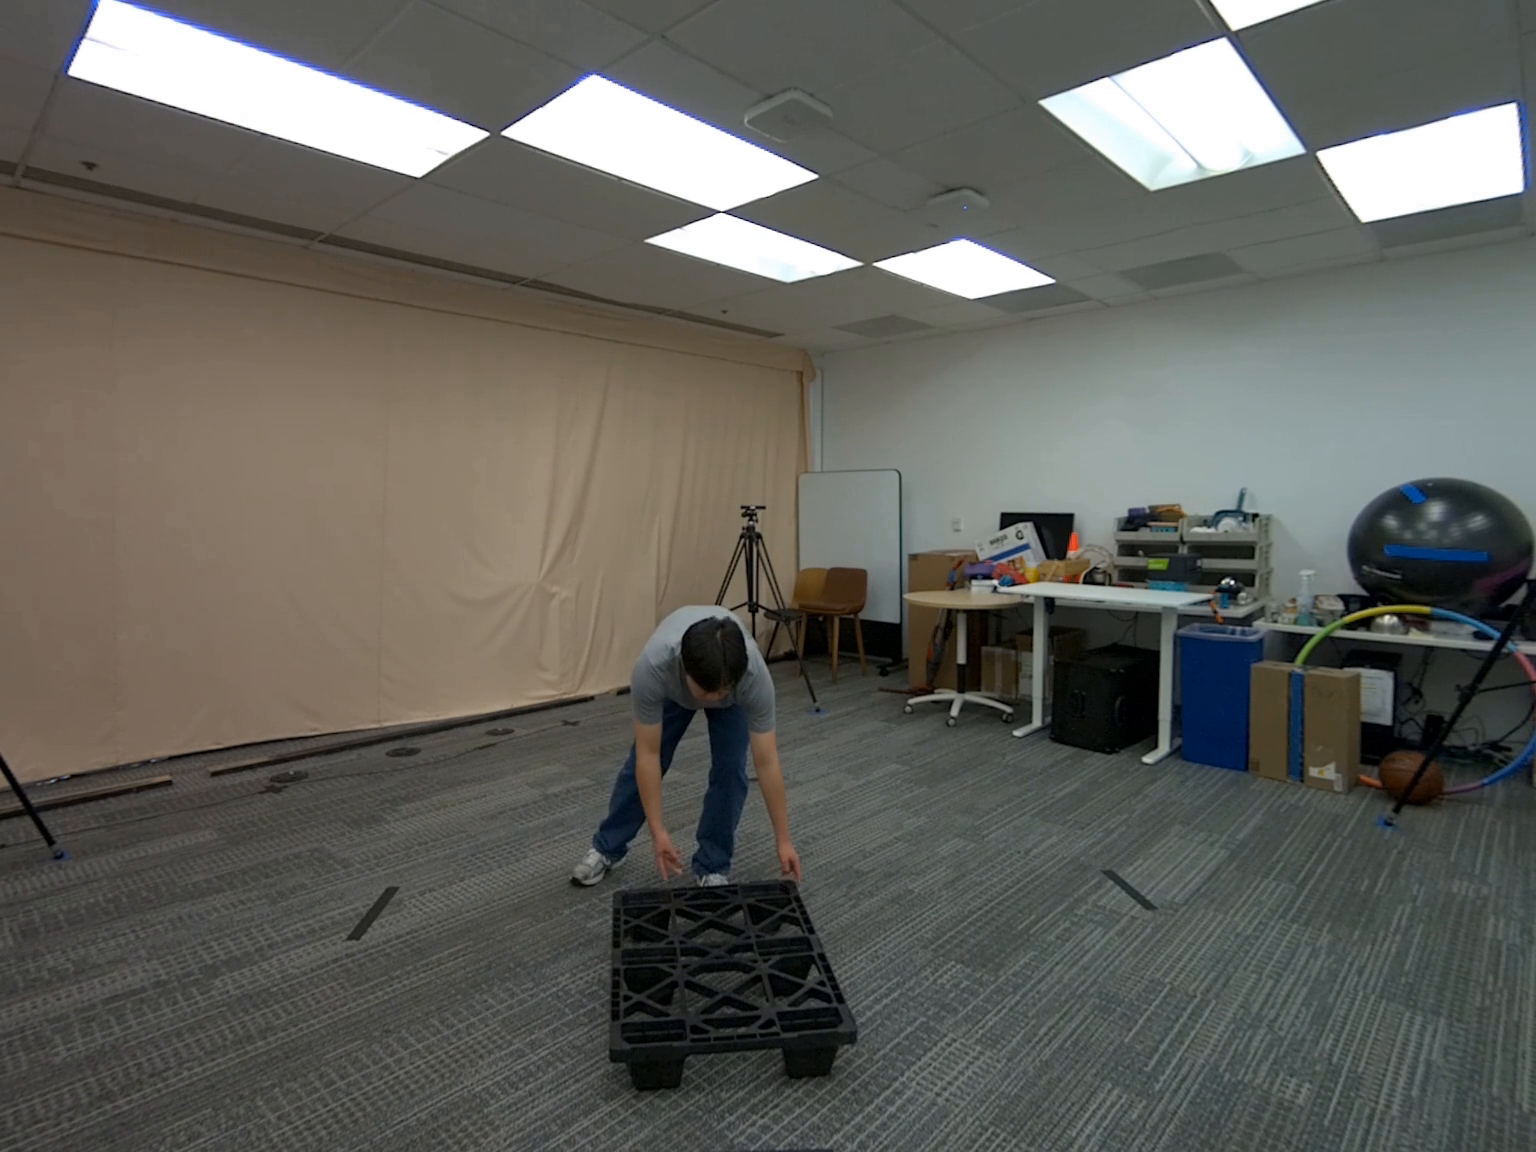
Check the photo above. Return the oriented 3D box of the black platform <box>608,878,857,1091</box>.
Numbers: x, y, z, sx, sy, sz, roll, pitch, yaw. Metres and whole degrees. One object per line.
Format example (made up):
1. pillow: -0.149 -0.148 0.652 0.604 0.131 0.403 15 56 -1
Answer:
1. black platform: -0.135 1.121 2.383 0.600 0.143 0.815 -1 6 -9
